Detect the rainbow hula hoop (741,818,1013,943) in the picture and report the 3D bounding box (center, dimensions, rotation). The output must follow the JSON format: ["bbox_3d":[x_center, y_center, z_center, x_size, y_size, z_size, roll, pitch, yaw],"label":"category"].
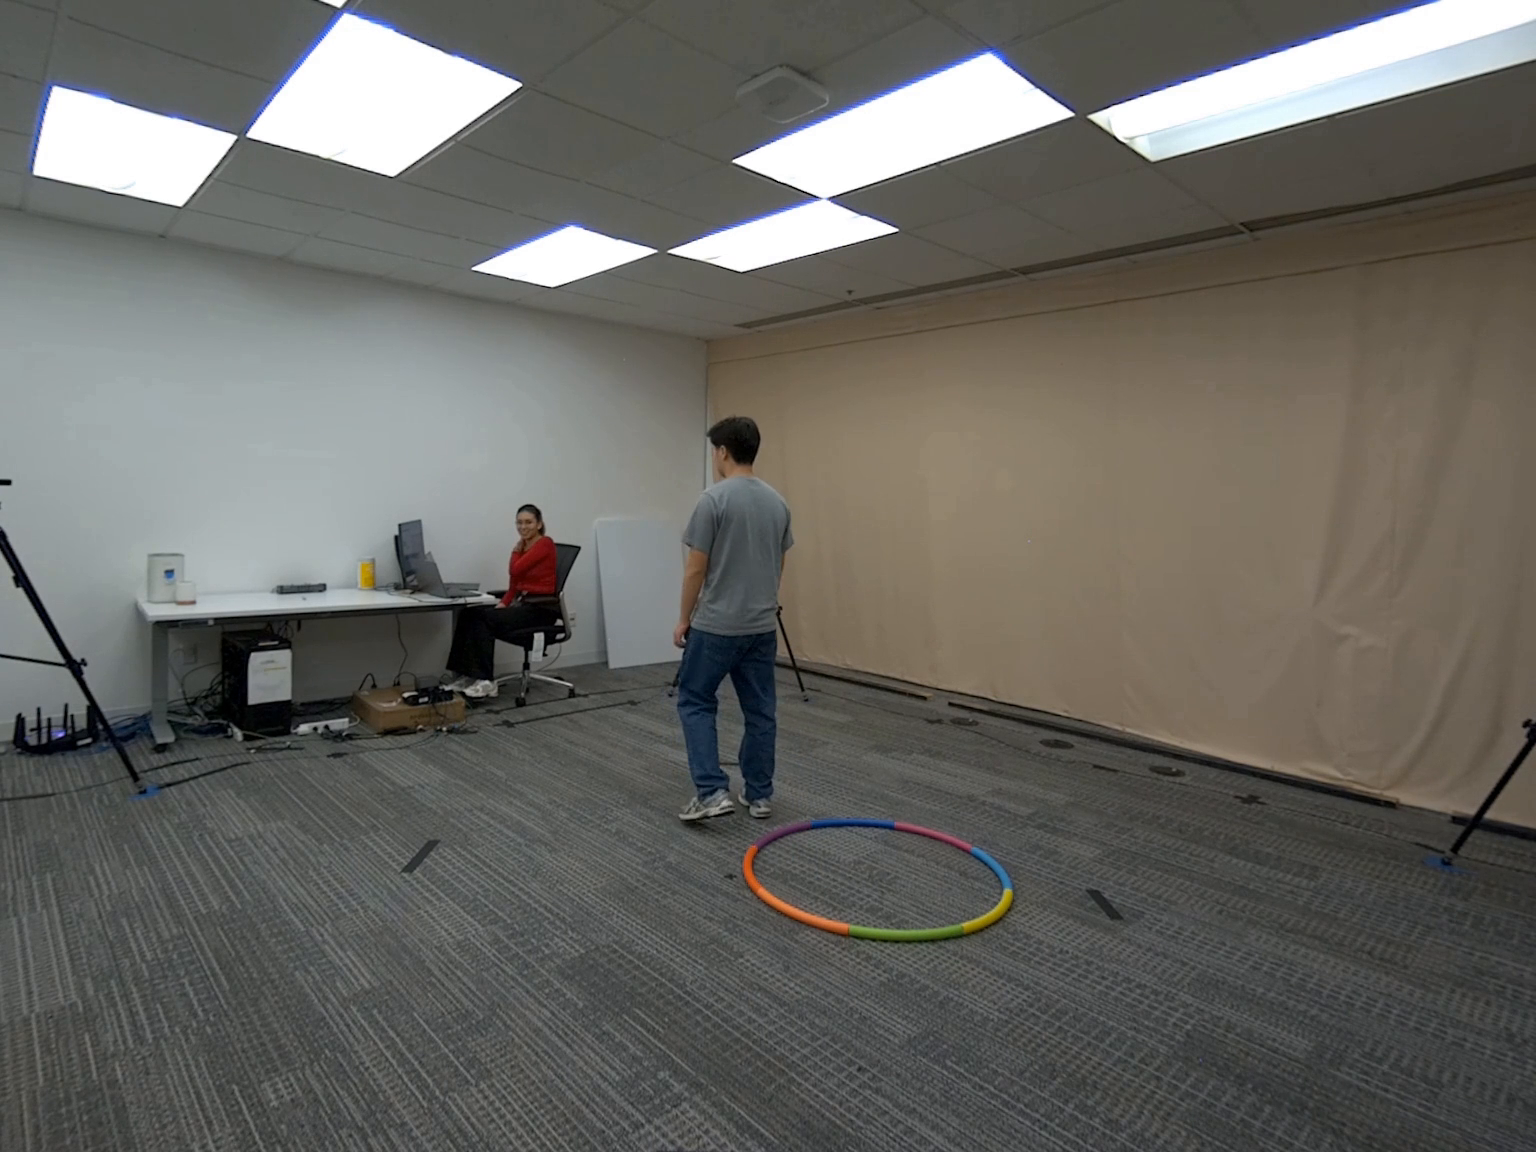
[{"bbox_3d":[0.376,1.081,3.152,0.978,0.035,0.982,1,5,-1],"label":"rainbow hula hoop"}]
